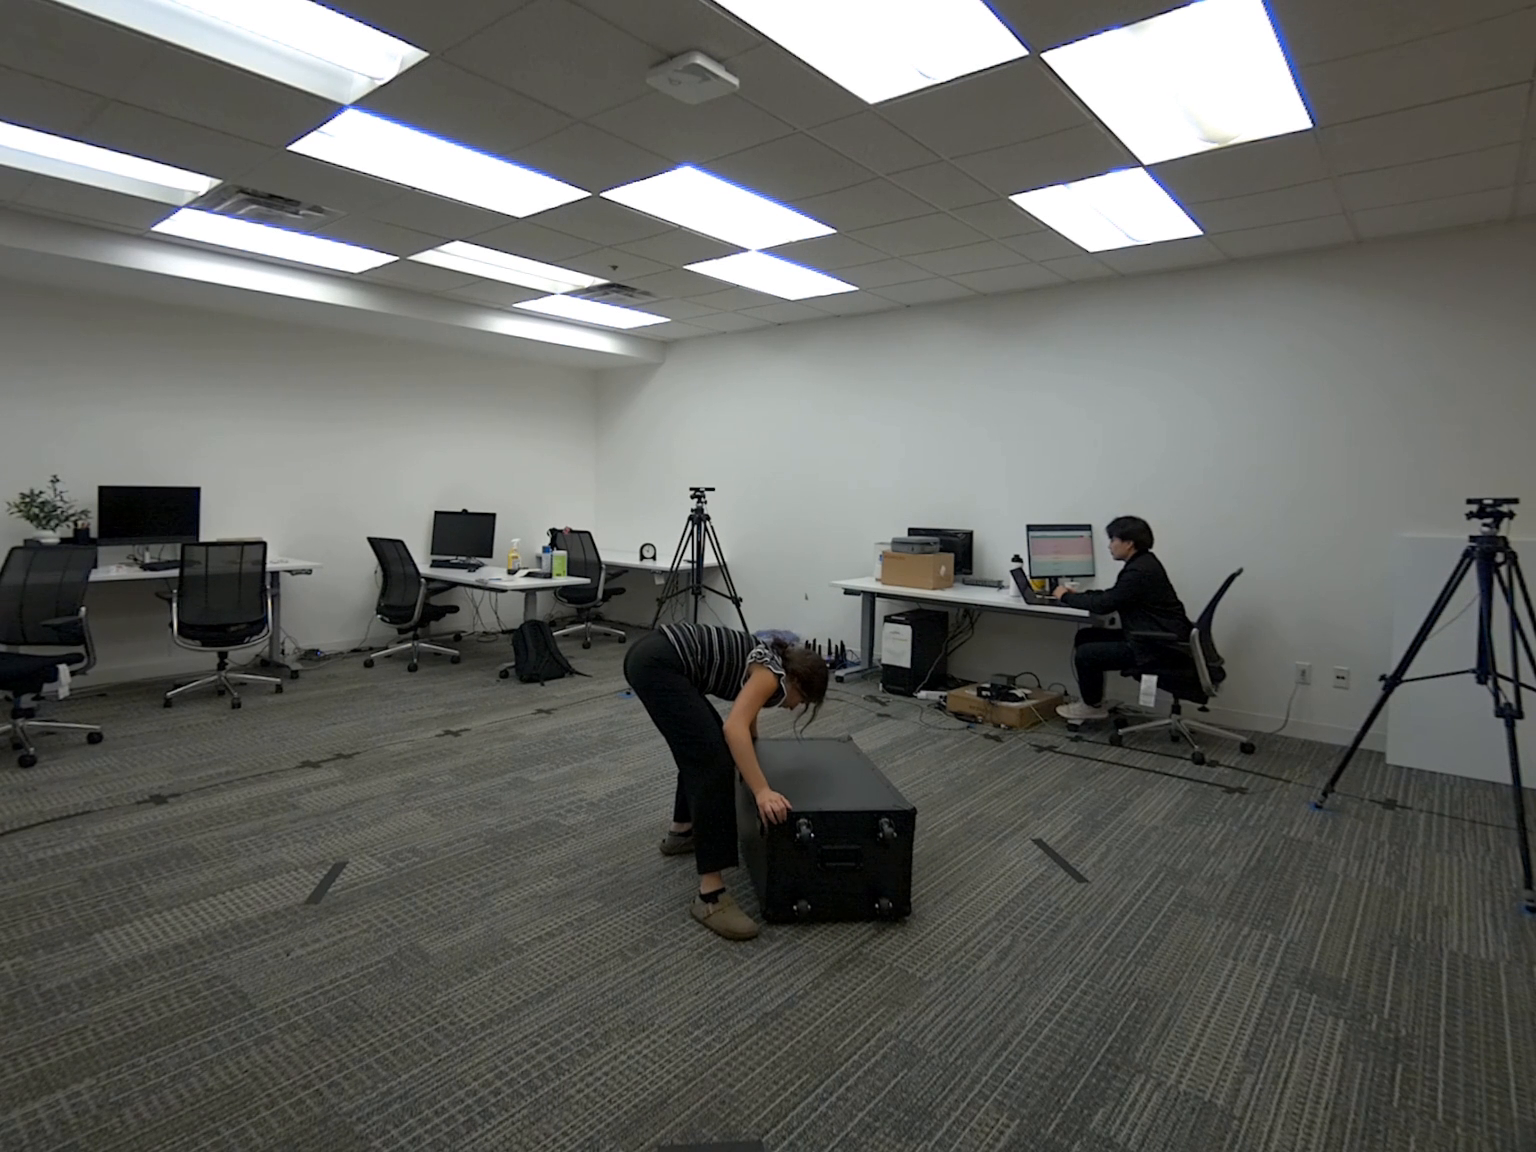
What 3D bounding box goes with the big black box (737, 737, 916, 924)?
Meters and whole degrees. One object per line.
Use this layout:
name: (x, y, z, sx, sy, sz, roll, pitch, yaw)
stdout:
big black box: (0.173, 0.886, 3.061, 0.516, 0.395, 0.872, 1, 5, -9)
